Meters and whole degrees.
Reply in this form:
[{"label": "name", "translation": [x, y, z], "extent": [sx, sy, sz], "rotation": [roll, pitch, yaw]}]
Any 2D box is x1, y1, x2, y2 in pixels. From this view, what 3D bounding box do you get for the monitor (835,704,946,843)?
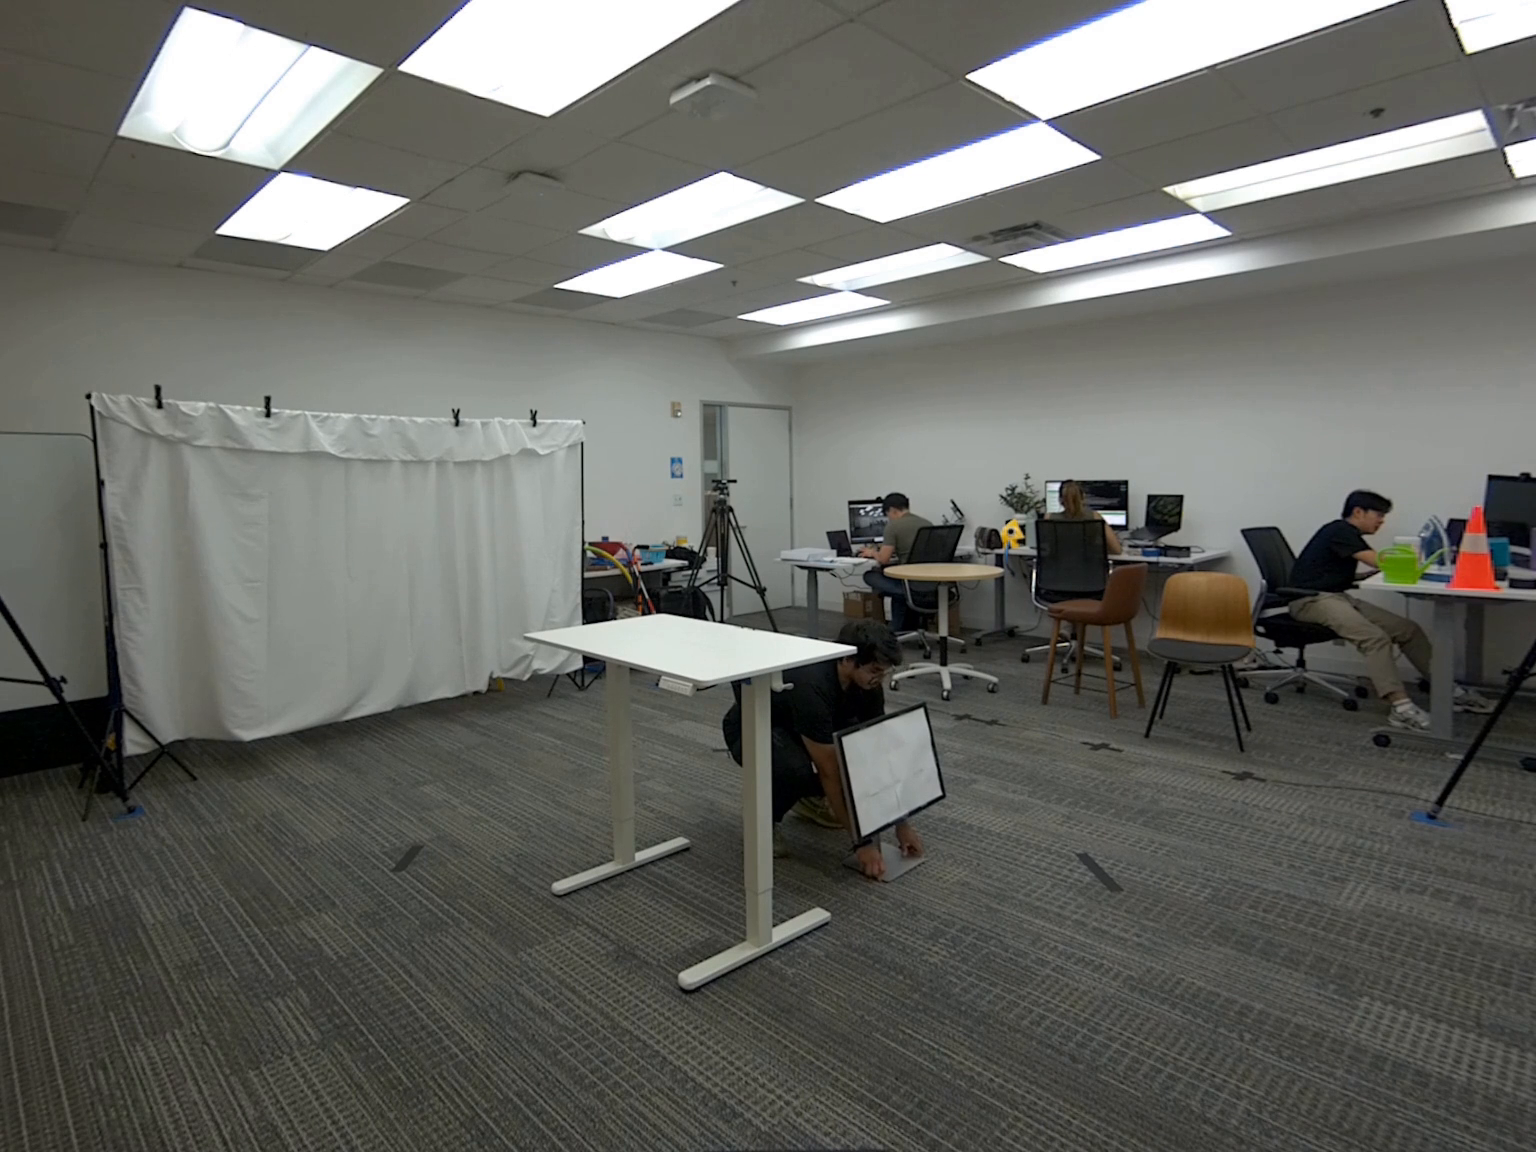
[{"label": "monitor", "translation": [0.393, 0.773, 3.094], "extent": [0.215, 0.554, 0.550], "rotation": [-6, 0, 44]}]
